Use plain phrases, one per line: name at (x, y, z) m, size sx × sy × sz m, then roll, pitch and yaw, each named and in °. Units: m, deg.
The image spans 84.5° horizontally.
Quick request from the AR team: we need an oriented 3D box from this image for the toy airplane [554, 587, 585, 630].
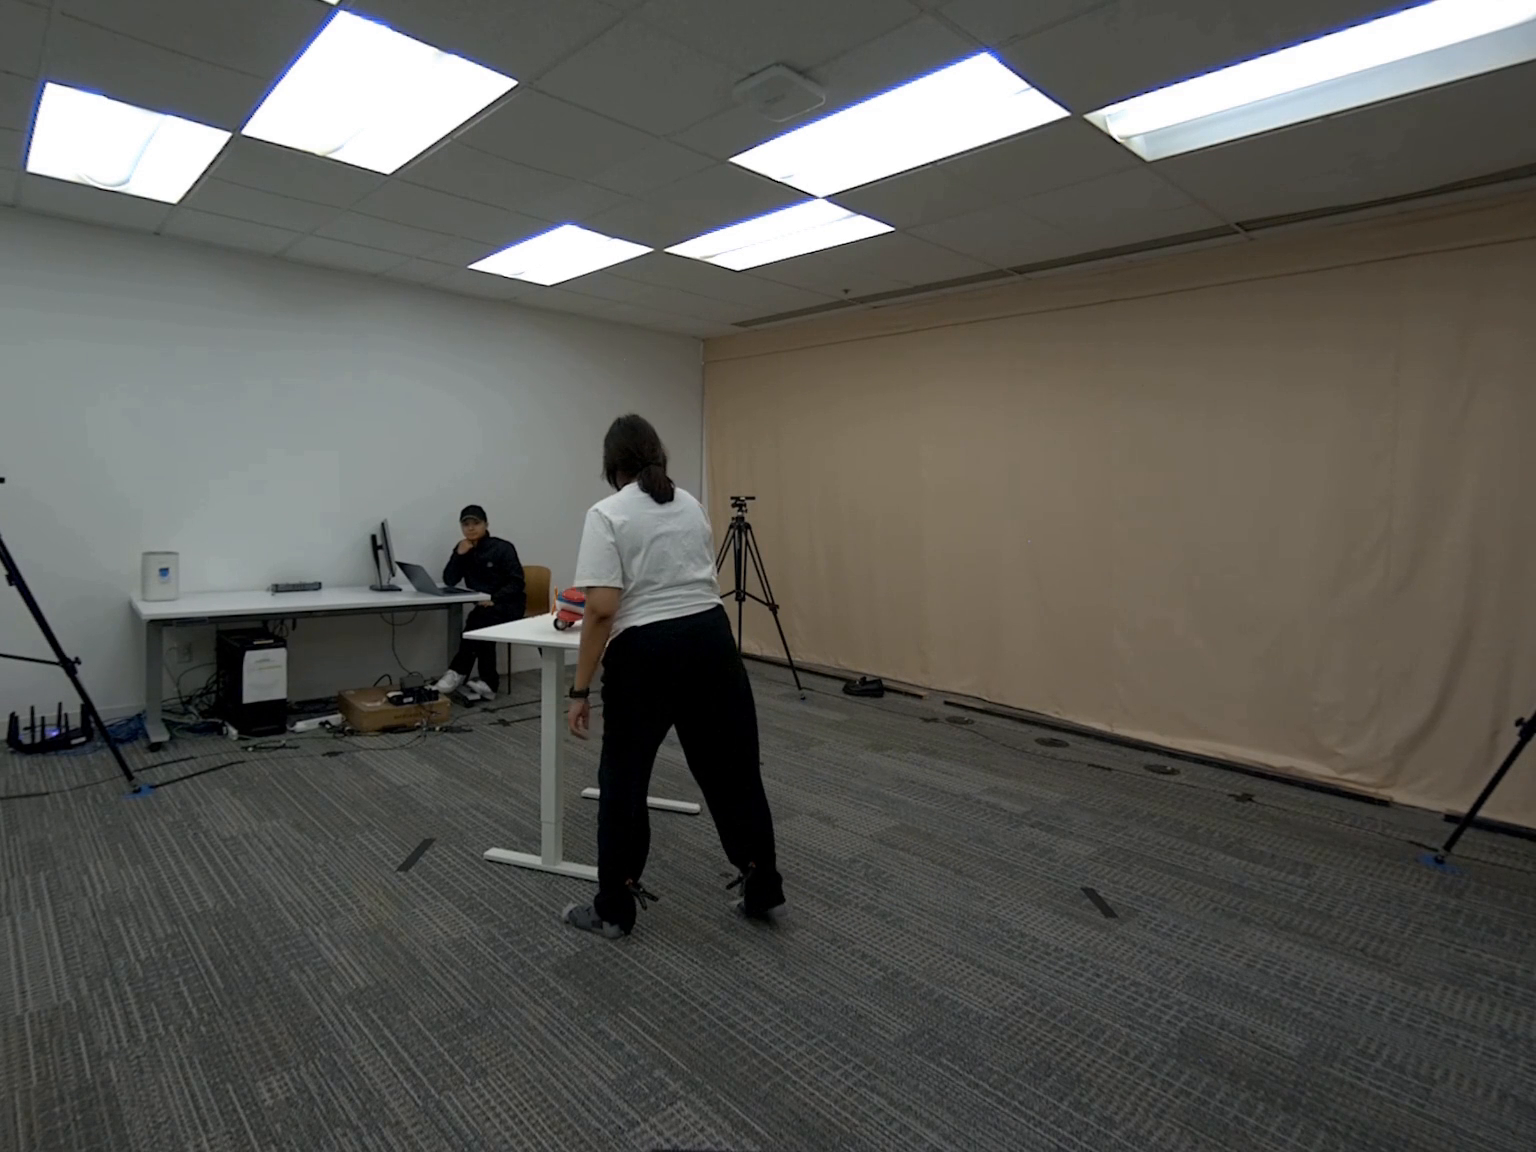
toy airplane at (-0.692, 0.123, 3.197) m, size 0.255 × 0.156 × 0.255 m, roll -3°, pitch 4°, yaw -22°
